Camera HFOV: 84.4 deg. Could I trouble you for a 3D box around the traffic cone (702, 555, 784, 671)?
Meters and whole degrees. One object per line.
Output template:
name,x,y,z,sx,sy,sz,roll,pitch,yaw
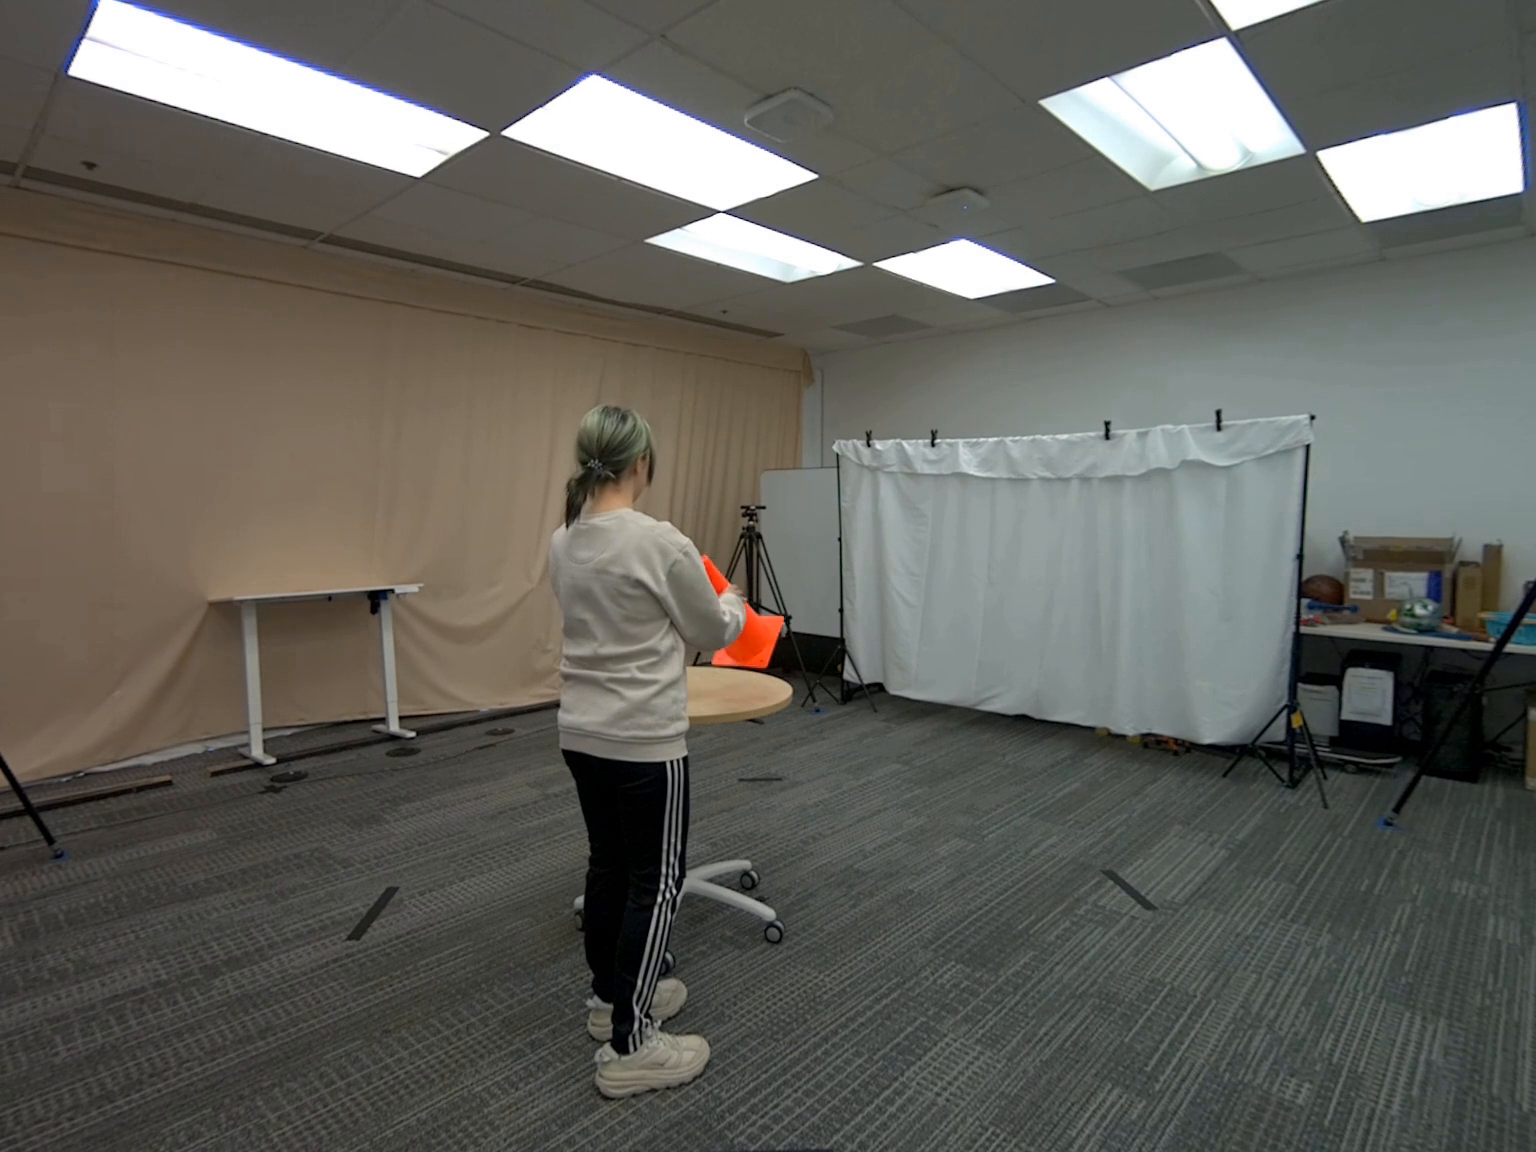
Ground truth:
traffic cone,-0.123,0.089,2.539,0.211,0.204,0.372,1,-42,29
